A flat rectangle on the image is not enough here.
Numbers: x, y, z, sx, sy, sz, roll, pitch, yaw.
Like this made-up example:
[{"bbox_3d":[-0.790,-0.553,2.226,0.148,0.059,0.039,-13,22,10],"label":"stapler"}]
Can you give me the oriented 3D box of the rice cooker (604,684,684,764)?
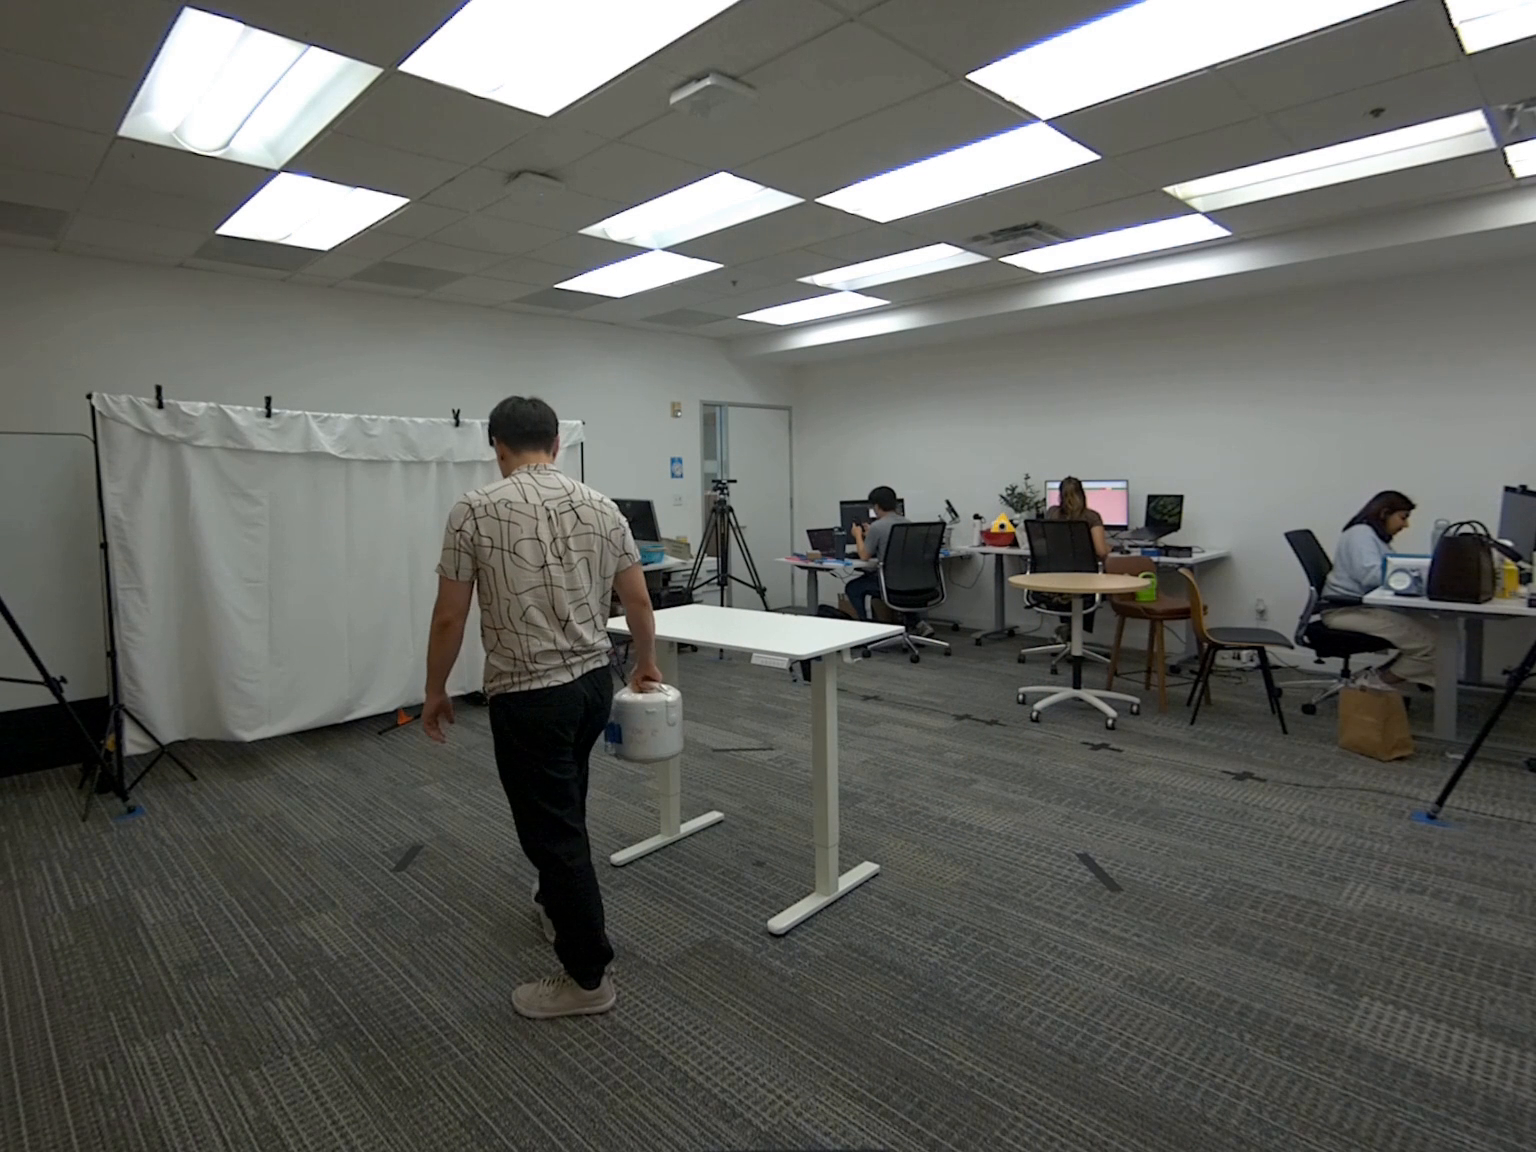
[{"bbox_3d":[-0.366,0.435,2.594,0.227,0.232,0.212,0,3,39],"label":"rice cooker"}]
